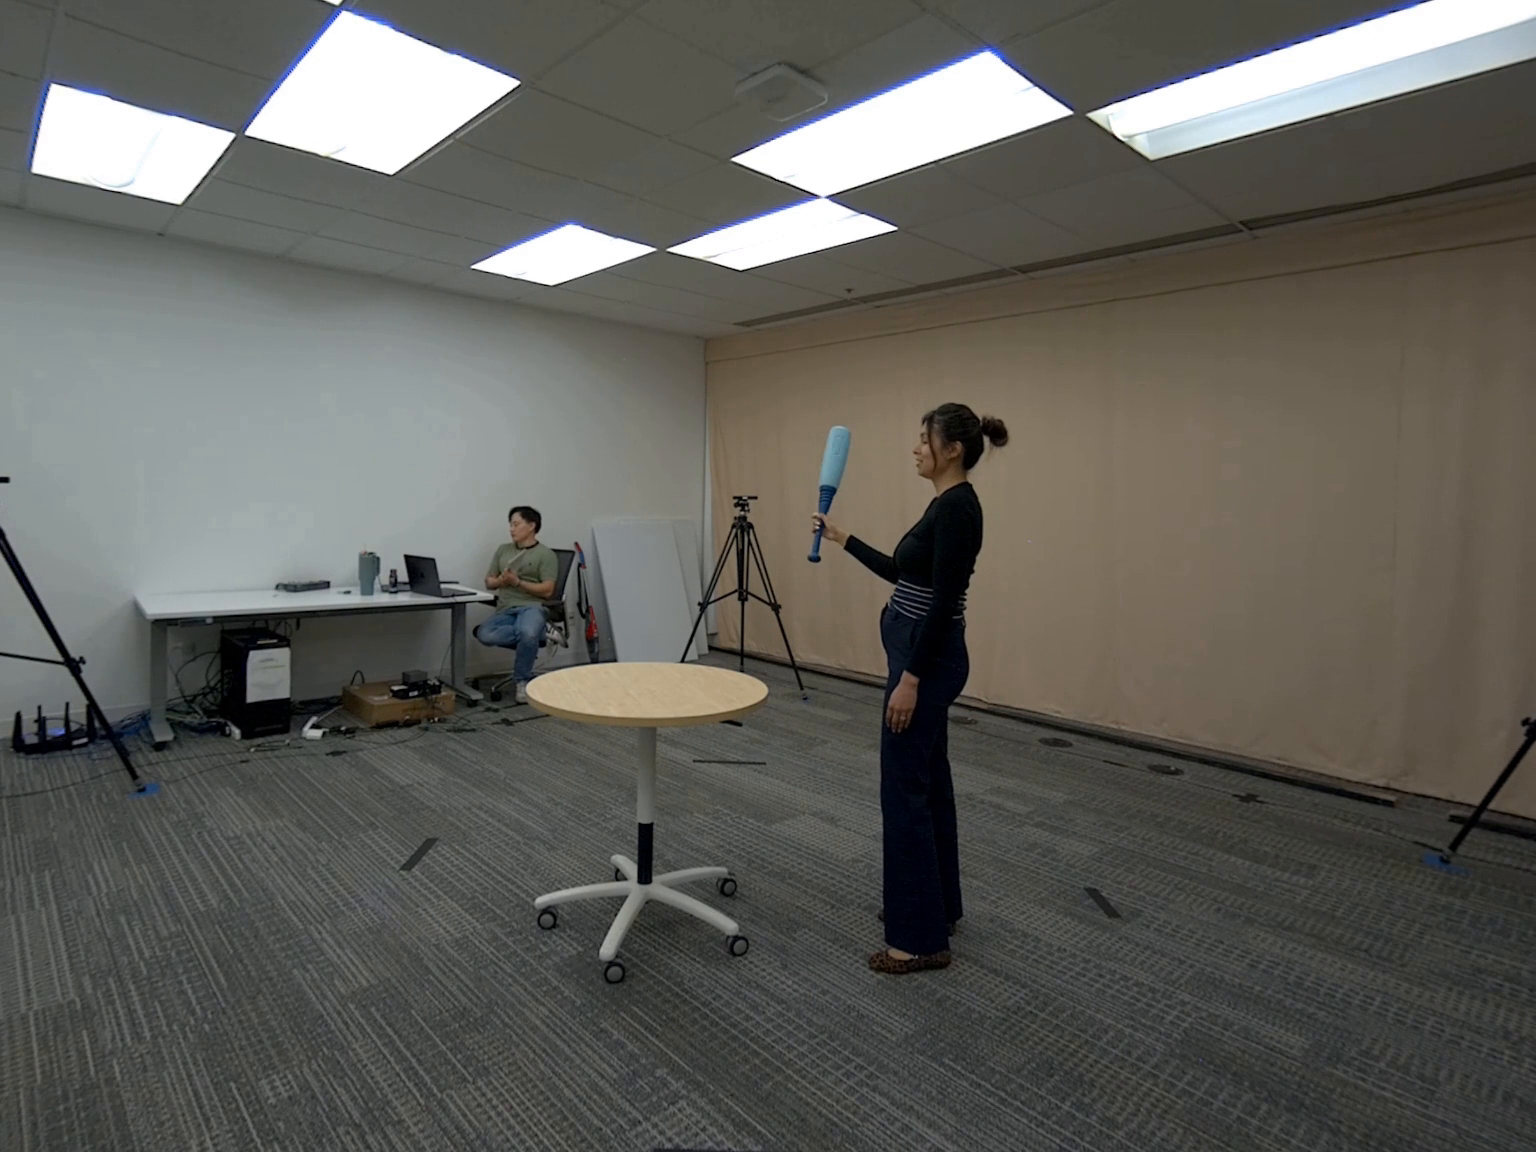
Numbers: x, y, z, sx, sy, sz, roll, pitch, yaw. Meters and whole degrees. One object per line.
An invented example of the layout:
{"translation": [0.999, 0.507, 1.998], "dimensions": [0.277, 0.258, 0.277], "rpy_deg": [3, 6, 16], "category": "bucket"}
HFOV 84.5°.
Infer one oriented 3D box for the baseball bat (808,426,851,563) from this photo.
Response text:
{"translation": [0.211, -0.308, 3.163], "dimensions": [0.089, 0.548, 0.088], "rpy_deg": [12, -16, 2], "category": "baseball bat"}
